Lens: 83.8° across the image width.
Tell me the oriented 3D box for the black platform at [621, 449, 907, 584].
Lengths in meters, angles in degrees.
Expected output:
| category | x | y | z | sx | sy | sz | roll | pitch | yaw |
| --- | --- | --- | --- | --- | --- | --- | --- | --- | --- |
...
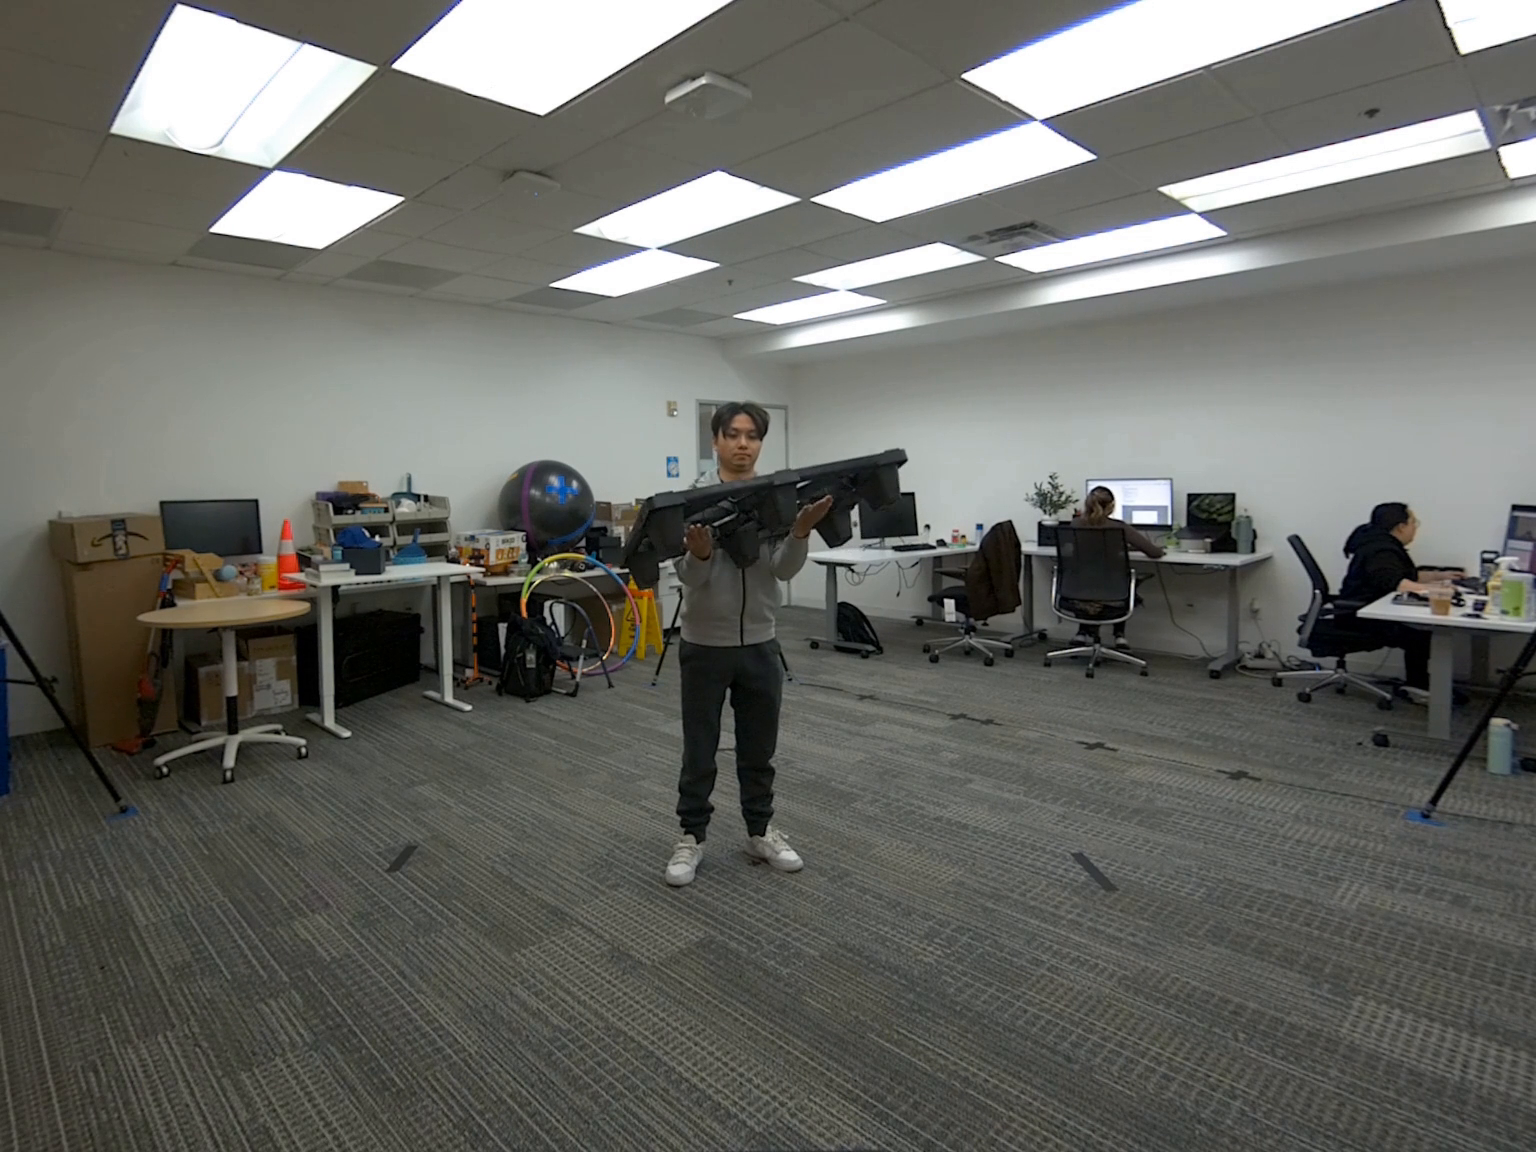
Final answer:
| category | x | y | z | sx | sy | sz | roll | pitch | yaw |
| --- | --- | --- | --- | --- | --- | --- | --- | --- | --- |
| black platform | -0.014 | -0.149 | 2.625 | 0.795 | 0.145 | 0.604 | -13 | -11 | -19 |
